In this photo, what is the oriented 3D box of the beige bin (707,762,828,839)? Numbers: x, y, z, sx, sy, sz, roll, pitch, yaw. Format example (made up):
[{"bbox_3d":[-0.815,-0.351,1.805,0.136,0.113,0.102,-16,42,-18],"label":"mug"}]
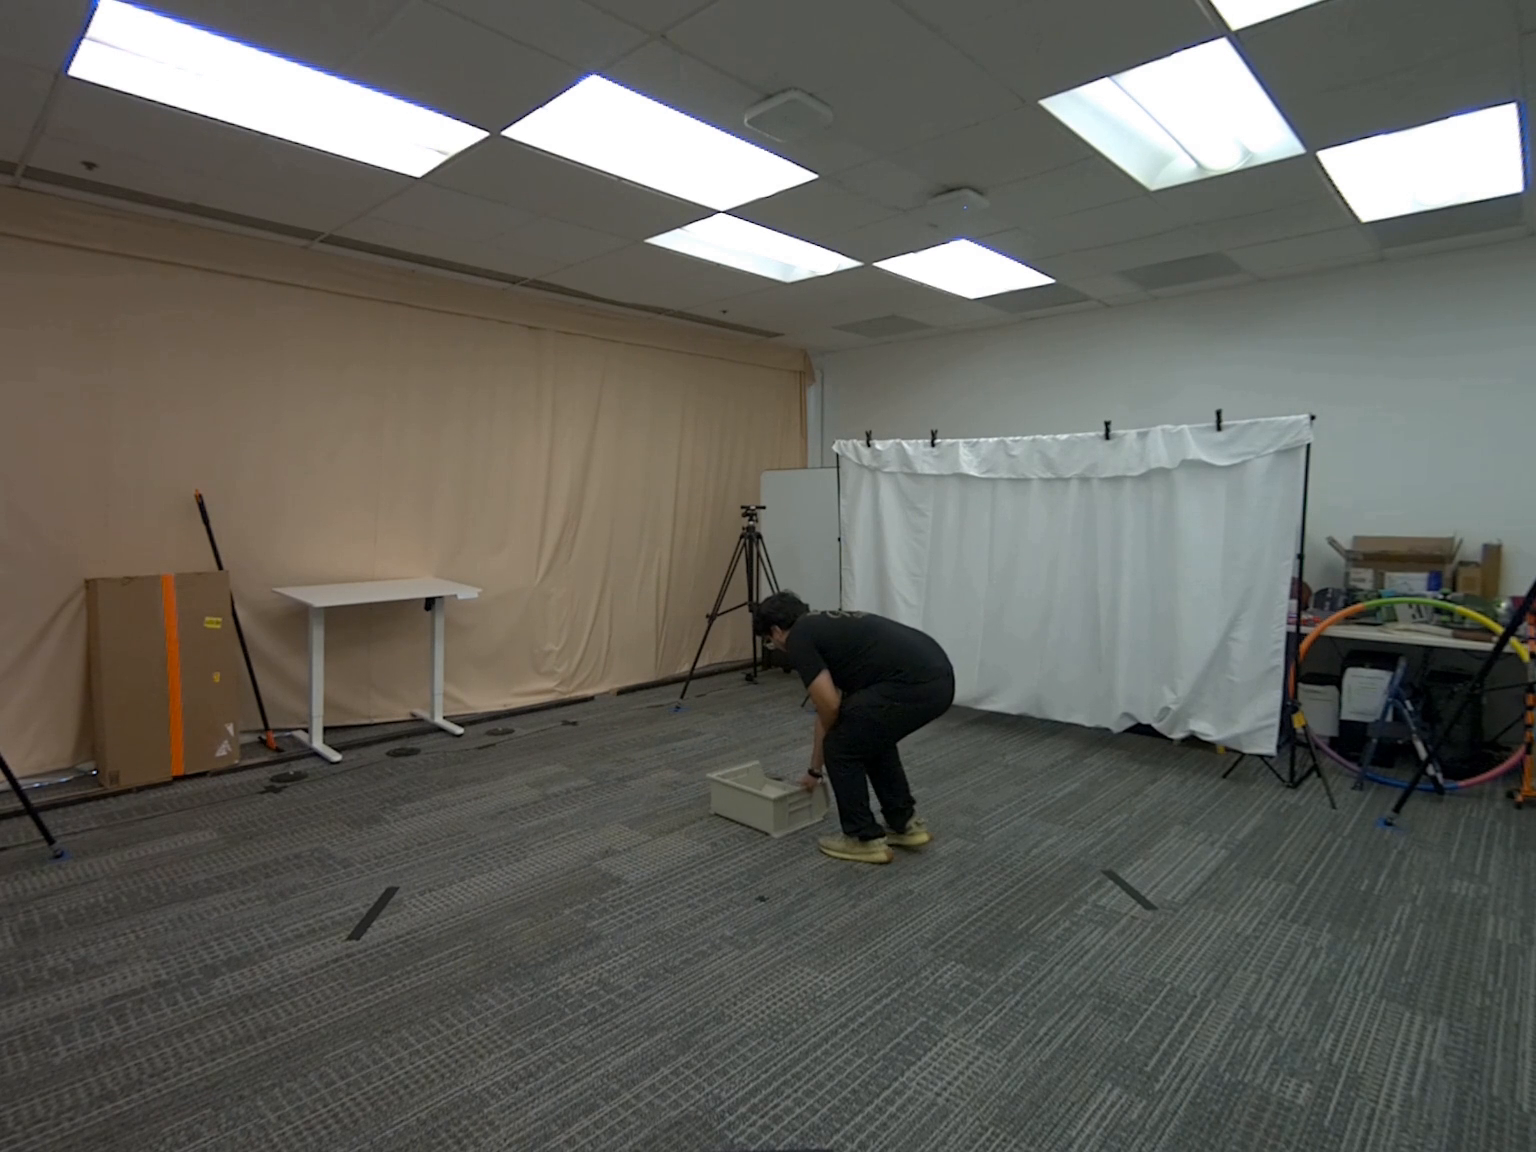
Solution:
[{"bbox_3d":[0.002,0.989,3.788,0.436,0.188,0.366,5,8,45],"label":"beige bin"}]
